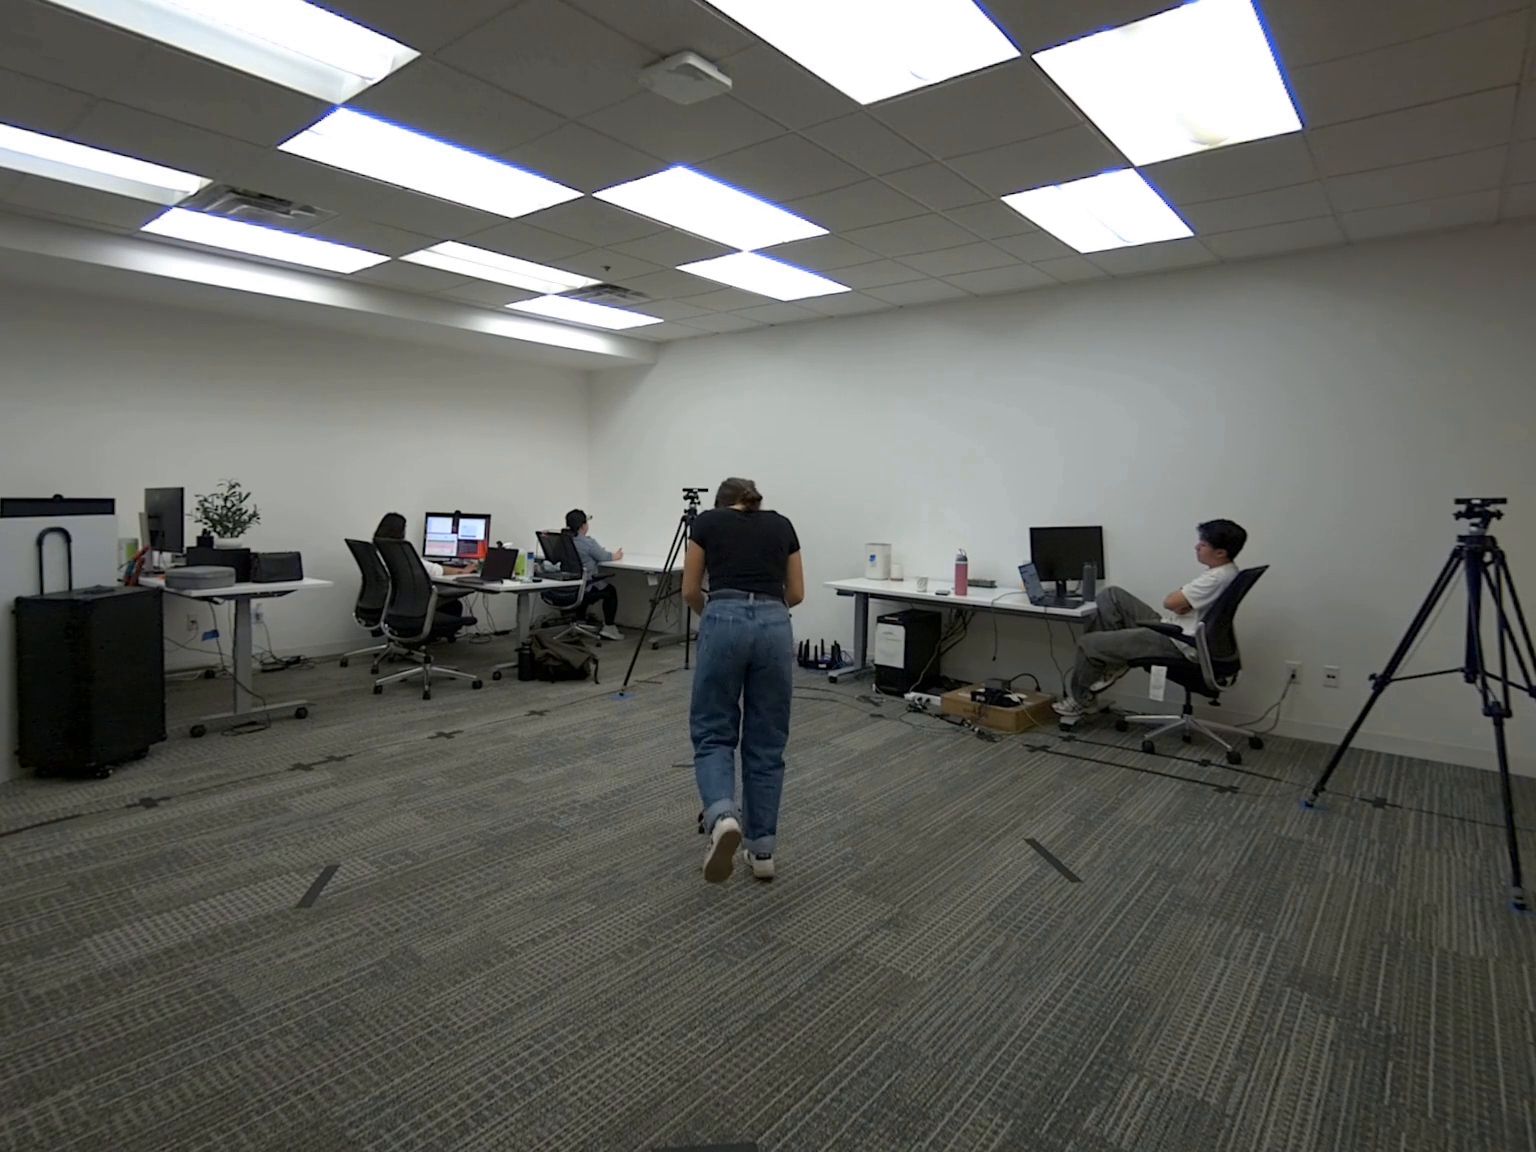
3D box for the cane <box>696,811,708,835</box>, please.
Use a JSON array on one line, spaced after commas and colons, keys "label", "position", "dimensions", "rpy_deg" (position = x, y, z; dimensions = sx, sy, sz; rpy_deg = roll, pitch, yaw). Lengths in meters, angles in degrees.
[{"label": "cane", "position": [-0.168, 0.568, 3.493], "dimensions": [0.206, 0.906, 0.152], "rpy_deg": [1, 2, -4]}]
